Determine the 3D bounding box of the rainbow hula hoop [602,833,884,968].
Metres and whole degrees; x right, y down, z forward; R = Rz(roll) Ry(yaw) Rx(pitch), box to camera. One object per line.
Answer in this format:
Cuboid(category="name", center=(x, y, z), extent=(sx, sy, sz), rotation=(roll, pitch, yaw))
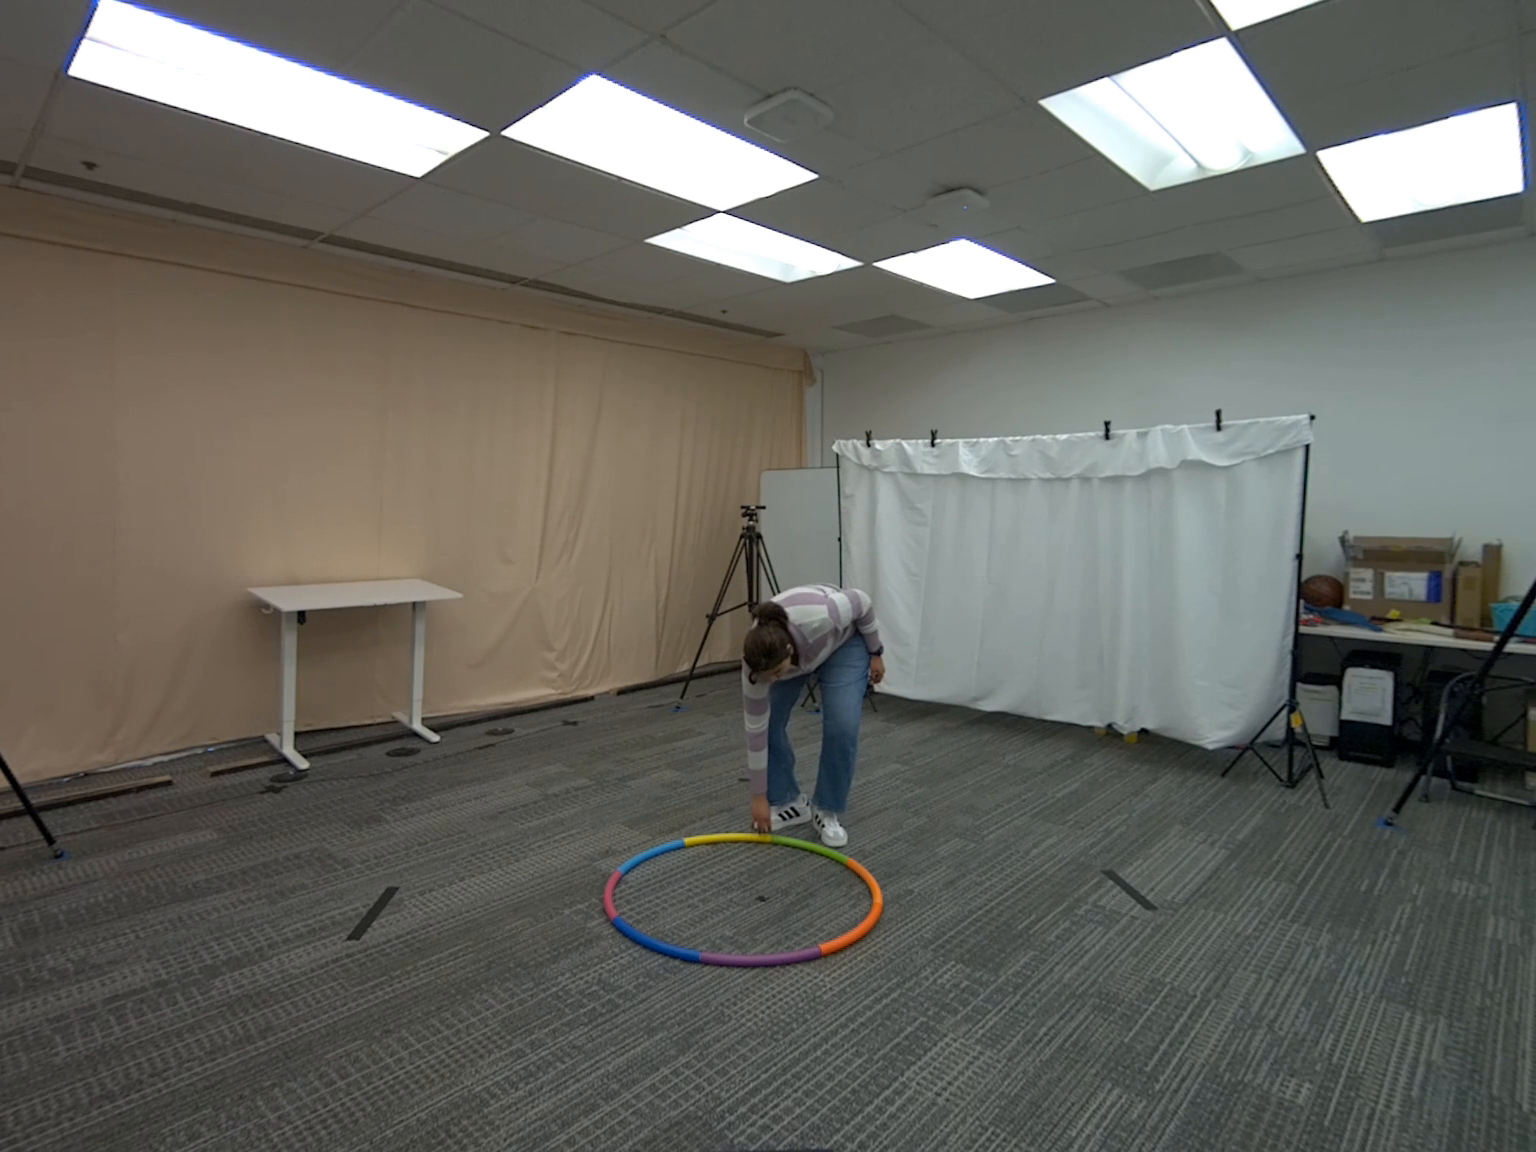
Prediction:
Cuboid(category="rainbow hula hoop", center=(-0.093, 1.108, 3.020), extent=(0.978, 0.035, 0.982), rotation=(-1, 5, -2))
